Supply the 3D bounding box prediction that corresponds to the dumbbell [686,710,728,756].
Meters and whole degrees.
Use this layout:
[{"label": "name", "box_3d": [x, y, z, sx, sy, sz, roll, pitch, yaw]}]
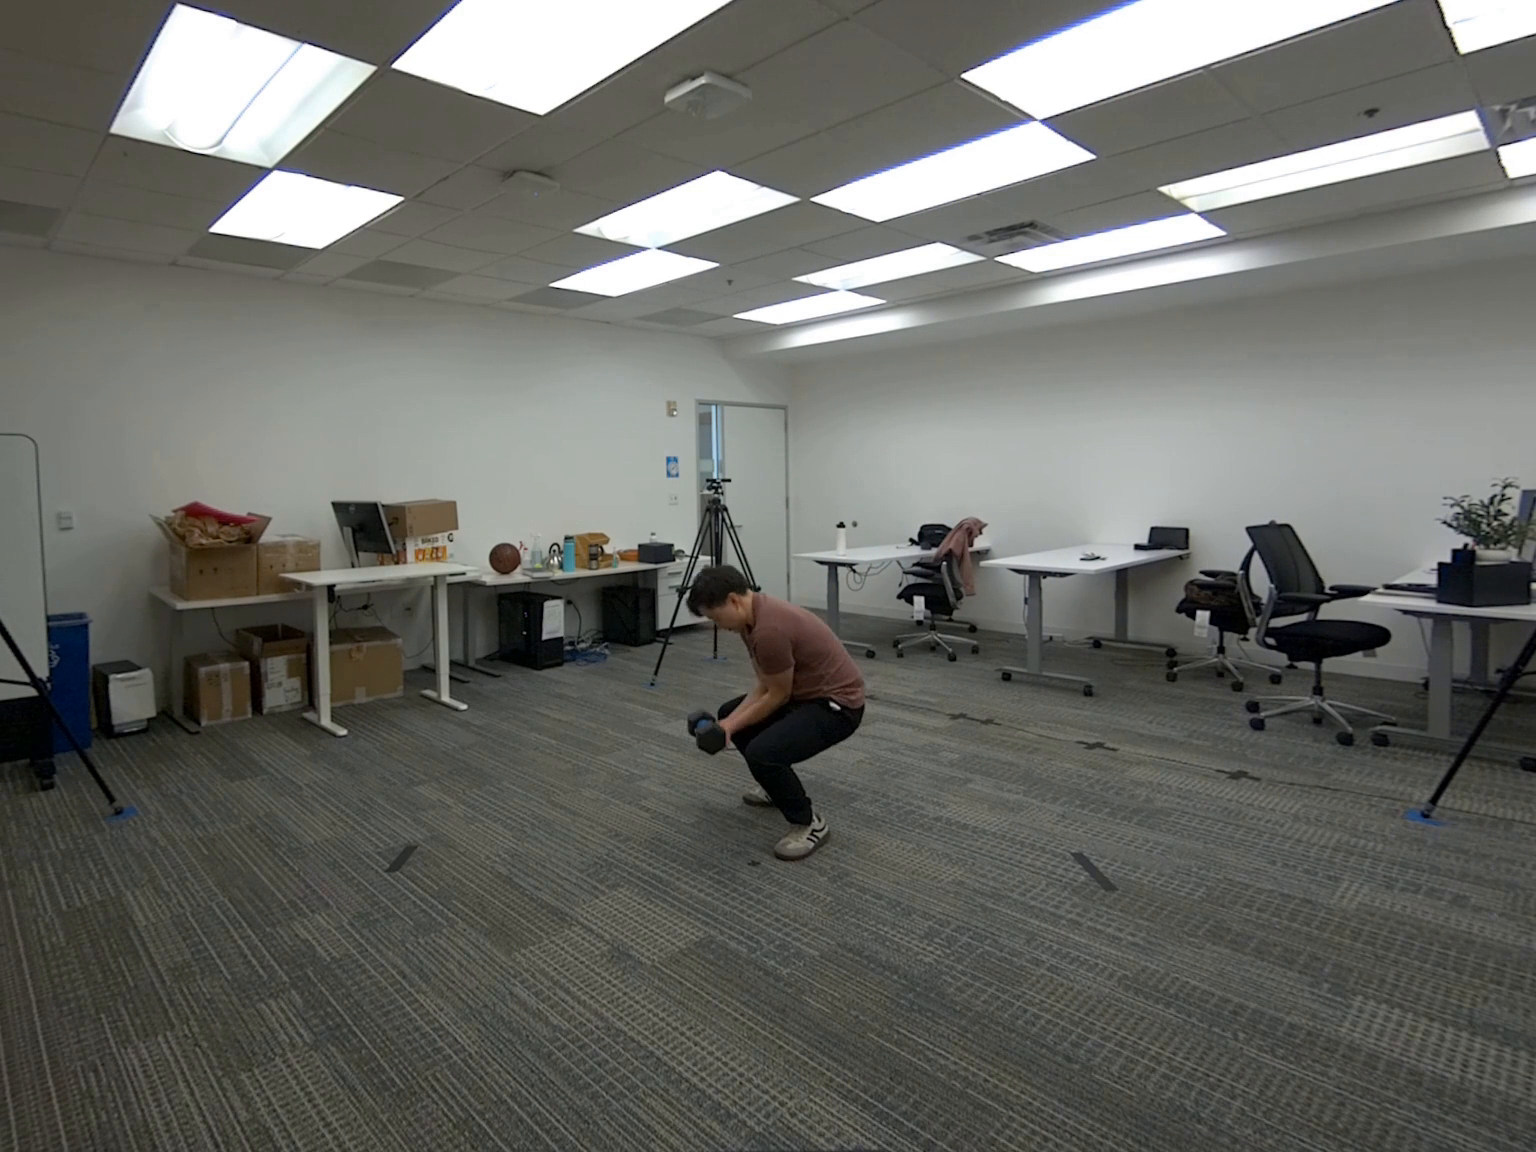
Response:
[{"label": "dumbbell", "box_3d": [-0.236, 0.604, 3.372, 0.122, 0.108, 0.297, -32, 9, -8]}]
